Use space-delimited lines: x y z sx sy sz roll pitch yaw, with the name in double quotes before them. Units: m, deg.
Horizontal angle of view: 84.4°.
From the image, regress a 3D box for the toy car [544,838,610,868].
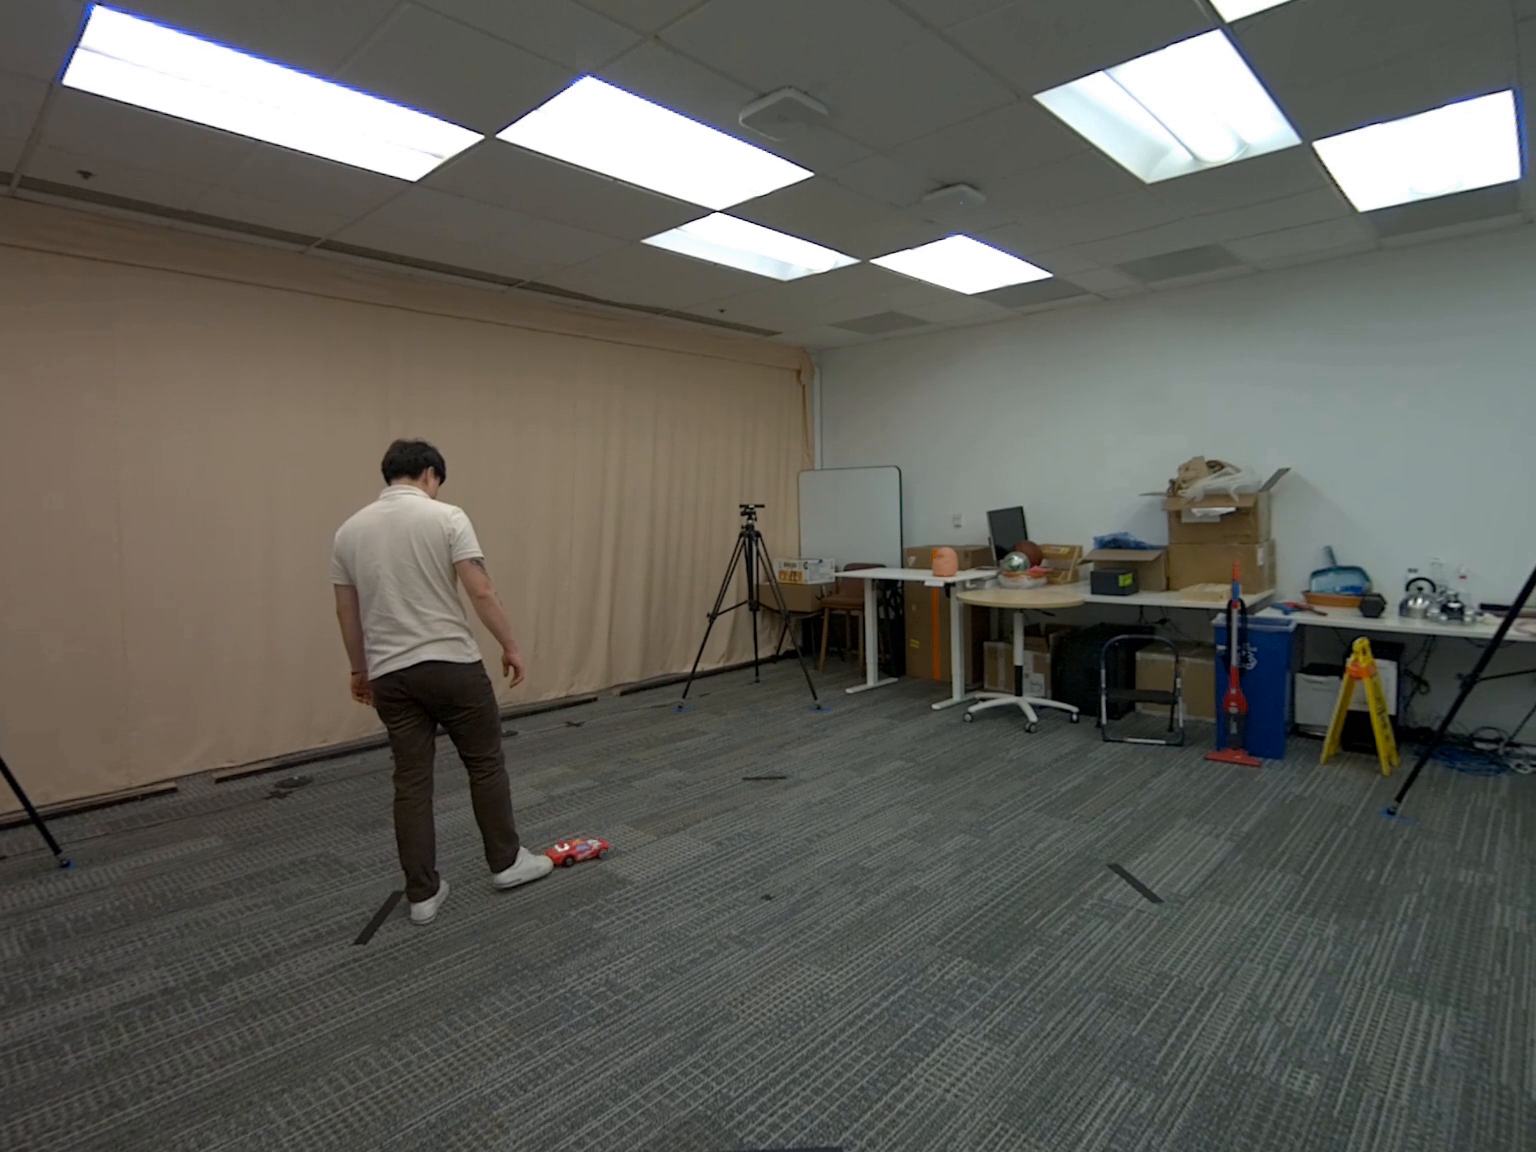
"toy car" -0.770 1.096 3.343 0.247 0.083 0.134 9 -3 -32
